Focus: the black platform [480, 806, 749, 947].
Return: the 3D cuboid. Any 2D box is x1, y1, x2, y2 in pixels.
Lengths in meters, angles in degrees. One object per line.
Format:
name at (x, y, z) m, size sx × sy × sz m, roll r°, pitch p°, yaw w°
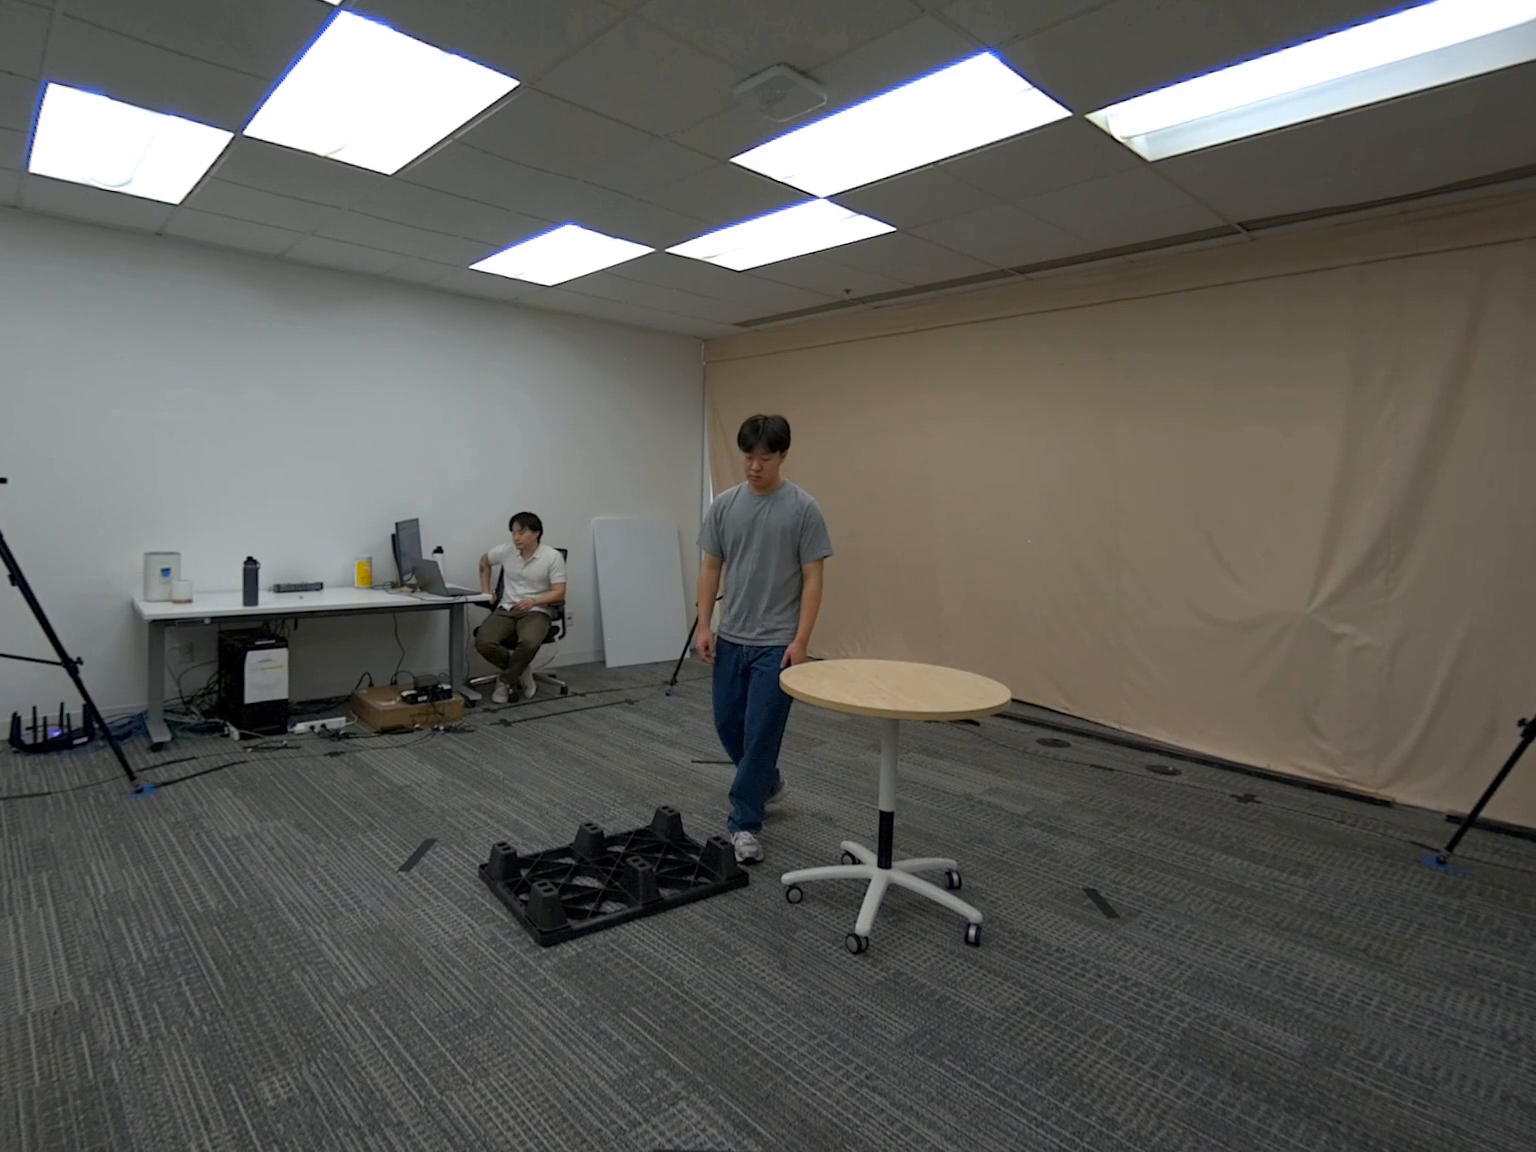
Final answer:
black platform at (-0.562, 1.037, 3.031) m, size 0.788 × 0.143 × 0.620 m, roll -3°, pitch 6°, yaw -37°
